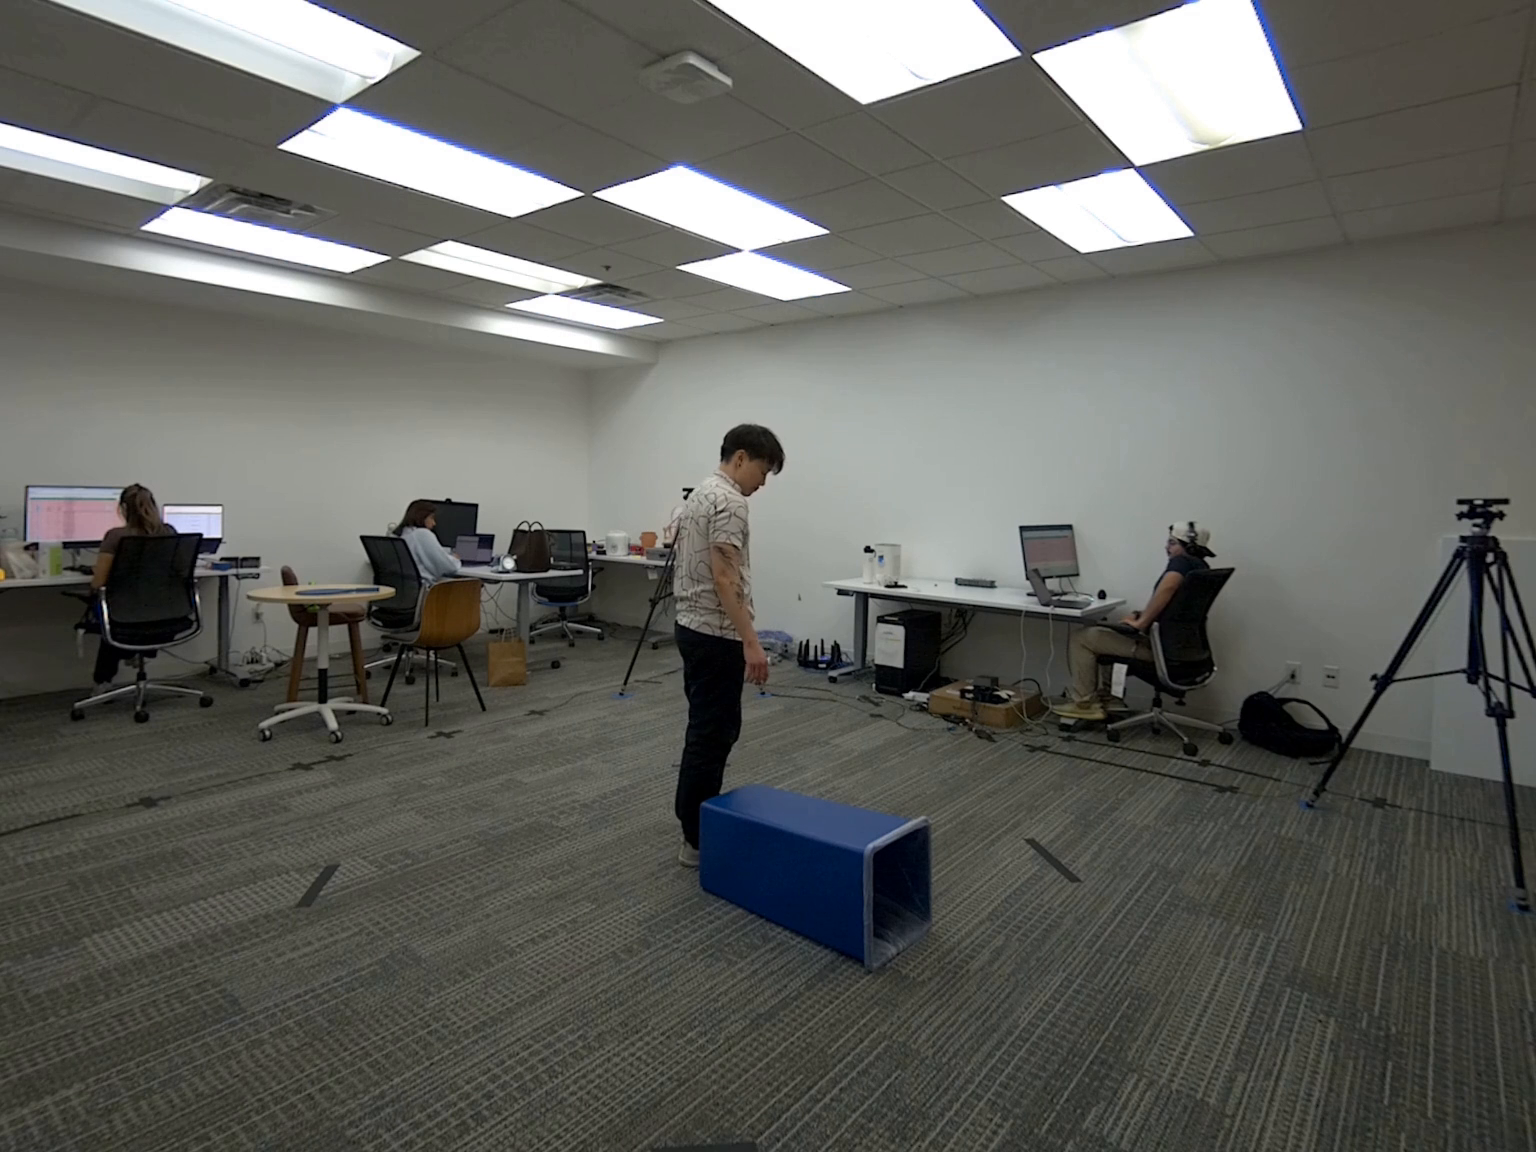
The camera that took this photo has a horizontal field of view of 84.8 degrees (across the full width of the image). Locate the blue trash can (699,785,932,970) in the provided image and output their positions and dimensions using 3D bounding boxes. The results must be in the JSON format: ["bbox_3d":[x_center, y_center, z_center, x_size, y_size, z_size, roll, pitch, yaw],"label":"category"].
[{"bbox_3d":[0.123,0.932,2.819,0.737,0.377,0.363,4,5,41],"label":"blue trash can"}]
